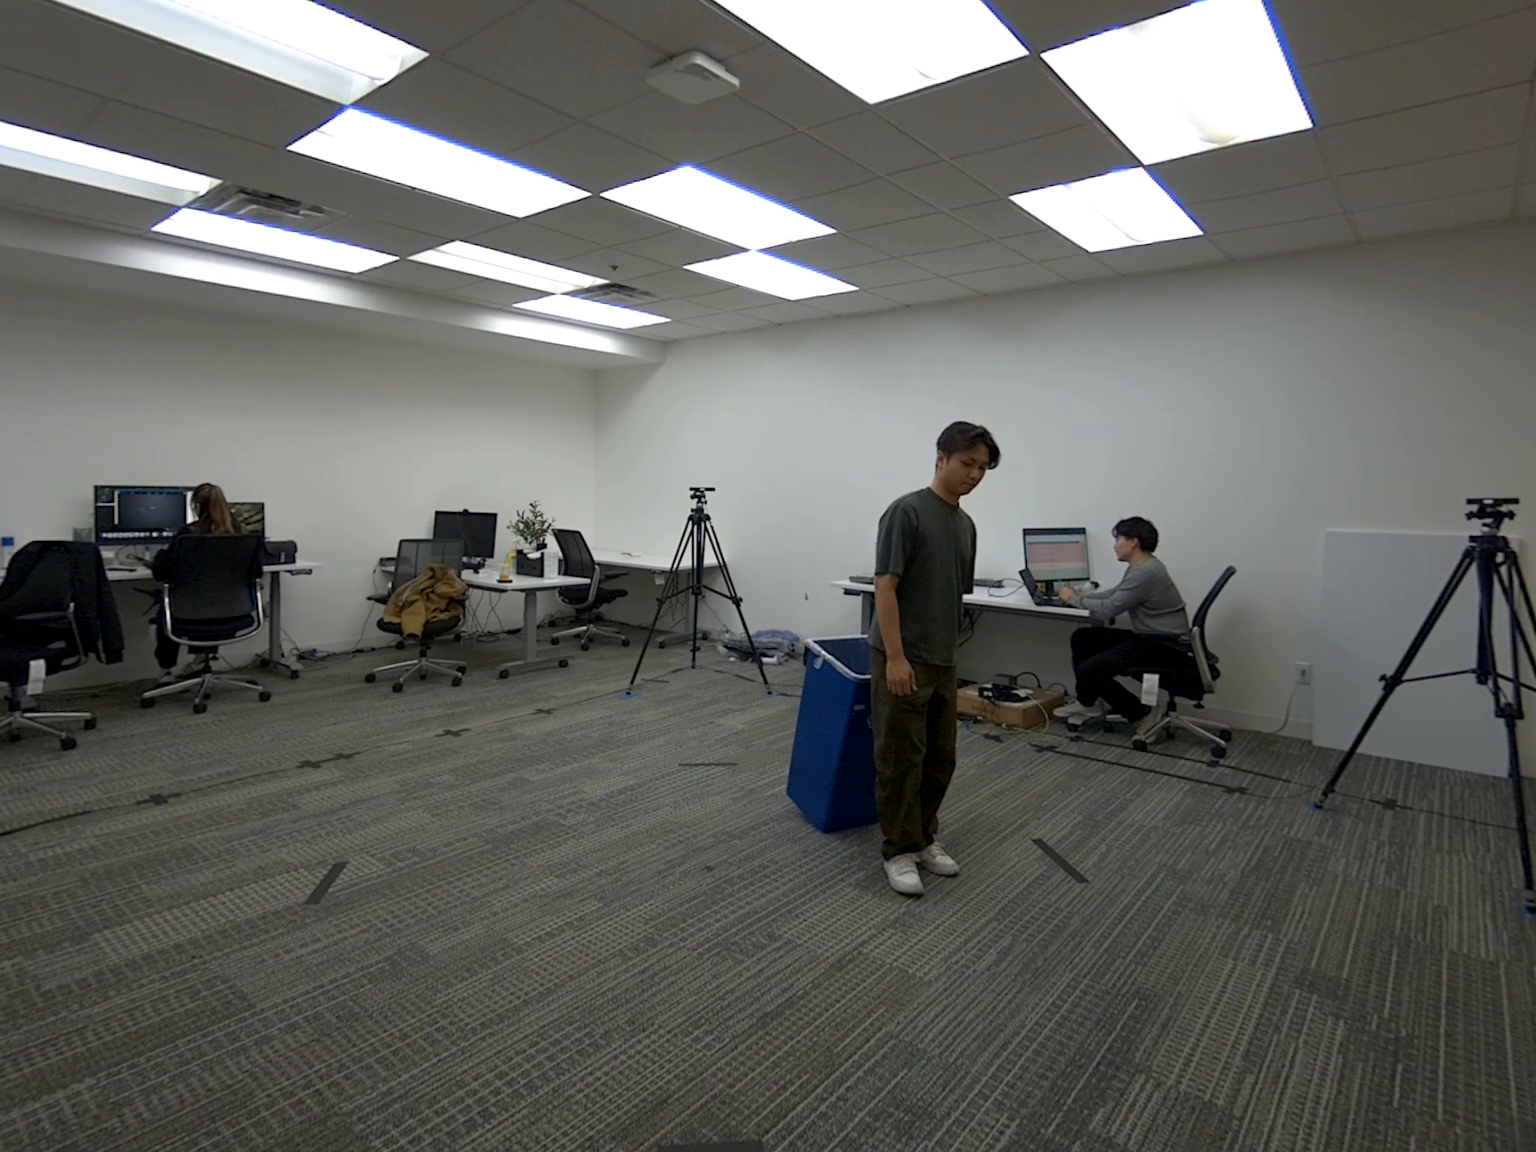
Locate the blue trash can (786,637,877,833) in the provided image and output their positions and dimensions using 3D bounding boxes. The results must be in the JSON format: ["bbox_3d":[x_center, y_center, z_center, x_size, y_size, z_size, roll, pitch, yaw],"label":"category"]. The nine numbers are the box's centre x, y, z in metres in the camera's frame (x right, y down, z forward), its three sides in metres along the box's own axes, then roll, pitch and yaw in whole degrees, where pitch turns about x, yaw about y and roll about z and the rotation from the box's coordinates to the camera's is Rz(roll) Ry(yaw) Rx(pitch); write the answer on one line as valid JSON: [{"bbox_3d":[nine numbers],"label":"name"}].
[{"bbox_3d":[0.329,0.651,3.554,0.364,0.705,0.393,0,19,-32],"label":"blue trash can"}]
